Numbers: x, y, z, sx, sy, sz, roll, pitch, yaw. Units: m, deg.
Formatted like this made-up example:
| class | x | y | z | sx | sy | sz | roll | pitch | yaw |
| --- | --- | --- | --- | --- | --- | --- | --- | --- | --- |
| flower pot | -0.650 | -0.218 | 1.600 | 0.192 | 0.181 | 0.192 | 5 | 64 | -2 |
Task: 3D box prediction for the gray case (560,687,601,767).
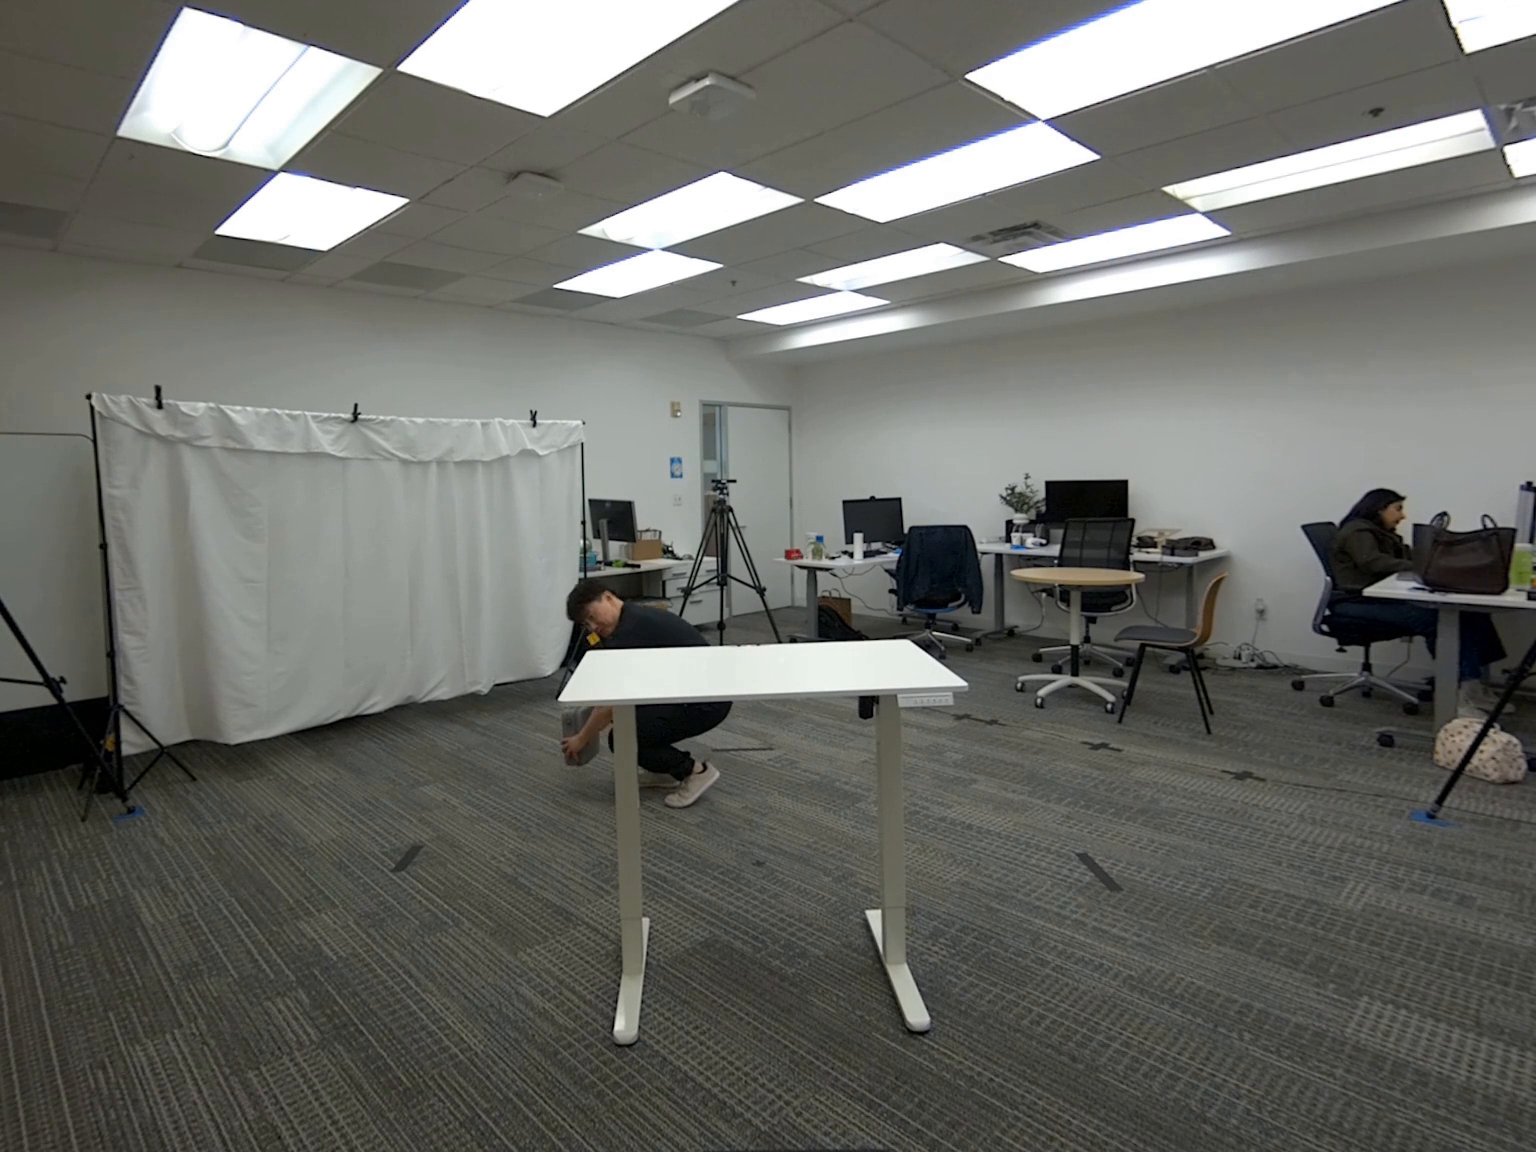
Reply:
| class | x | y | z | sx | sy | sz | roll | pitch | yaw |
| --- | --- | --- | --- | --- | --- | --- | --- | --- | --- |
| gray case | -0.848 | 0.698 | 3.895 | 0.105 | 0.261 | 0.255 | -6 | -1 | 4 |
